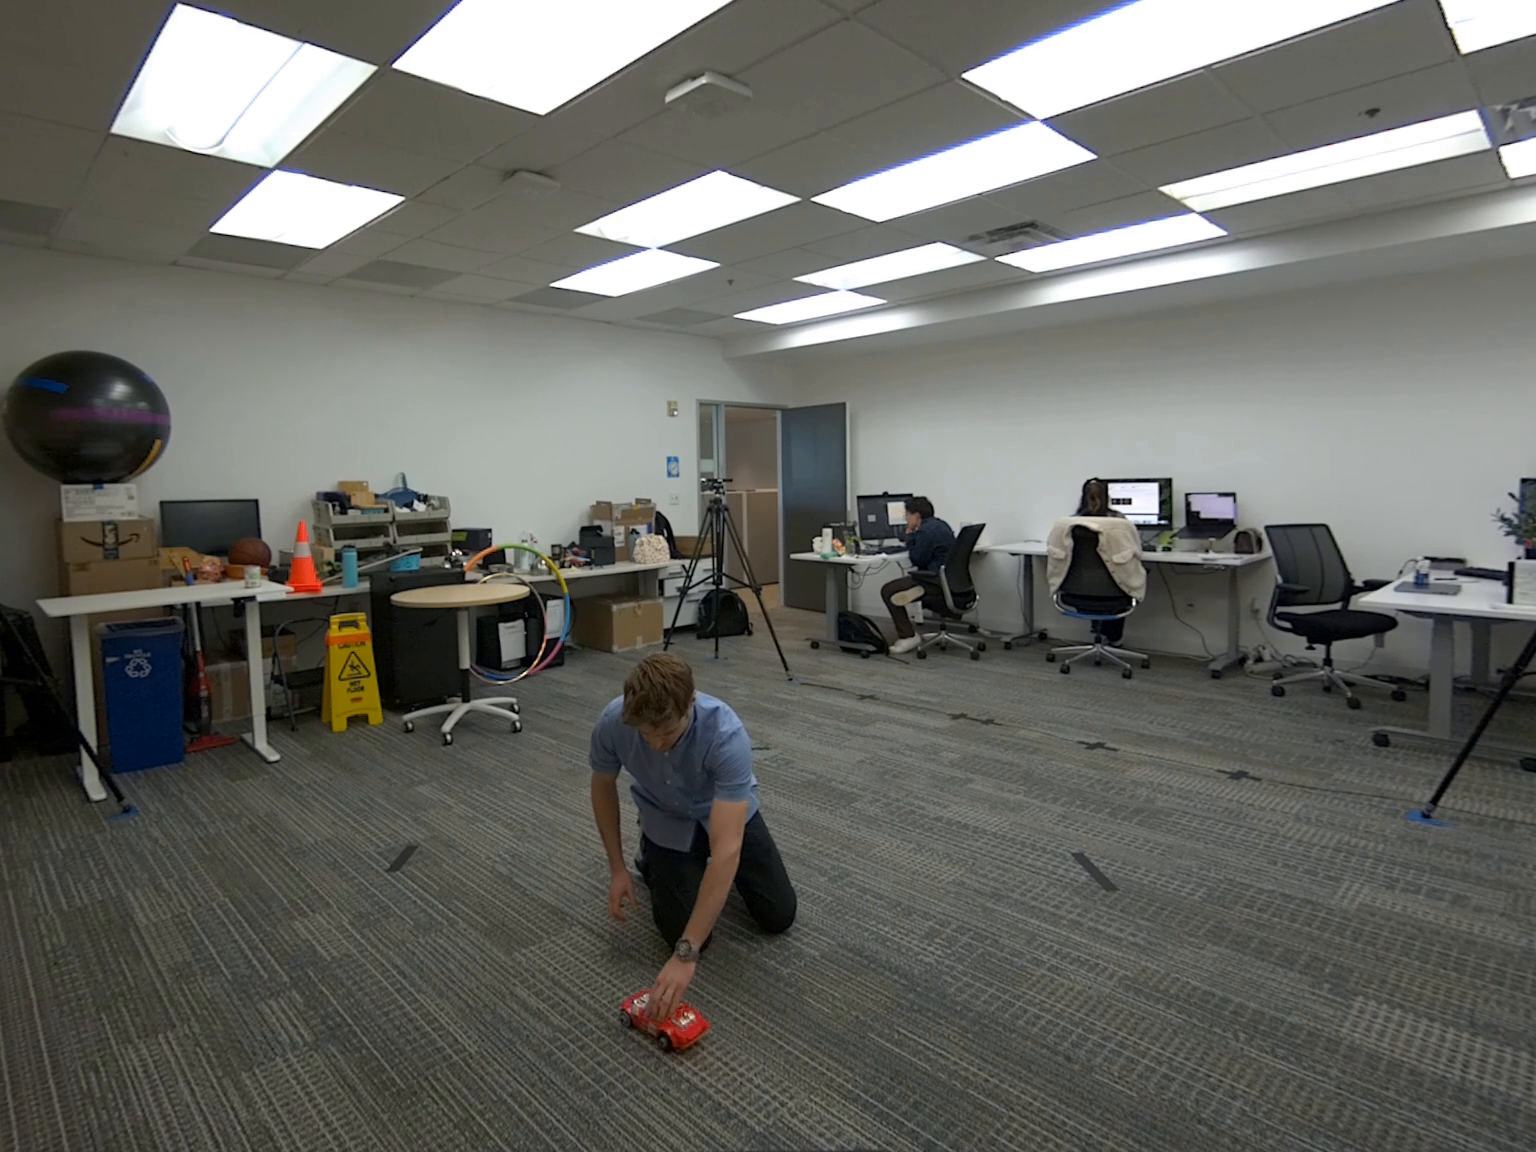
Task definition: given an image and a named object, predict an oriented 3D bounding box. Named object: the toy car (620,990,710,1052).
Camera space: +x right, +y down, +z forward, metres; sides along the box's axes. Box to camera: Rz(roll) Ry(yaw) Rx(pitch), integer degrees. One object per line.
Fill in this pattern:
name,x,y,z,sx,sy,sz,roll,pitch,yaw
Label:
toy car,-0.256,1.135,2.169,0.261,0.083,0.127,-8,0,41
